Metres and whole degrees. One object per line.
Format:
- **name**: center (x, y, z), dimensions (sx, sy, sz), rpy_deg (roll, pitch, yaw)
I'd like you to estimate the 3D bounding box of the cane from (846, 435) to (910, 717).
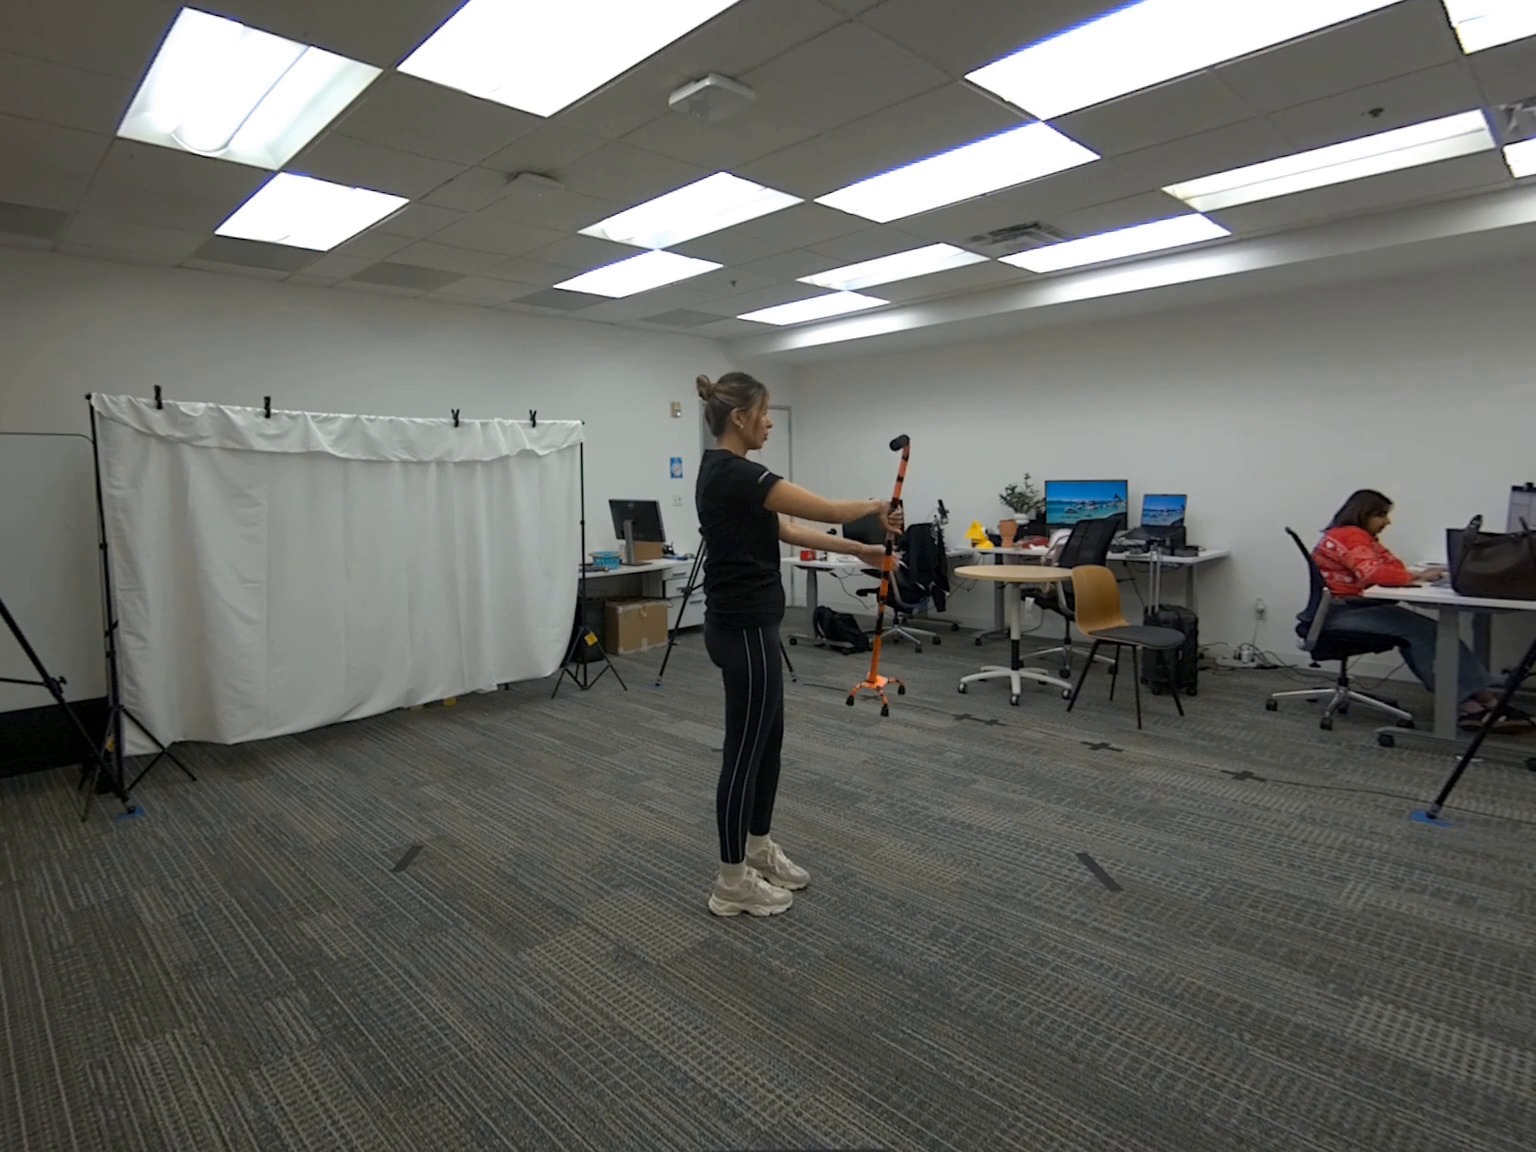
- **cane**: center (0.407, -0.005, 2.774), dimensions (0.156, 0.895, 0.204), rpy_deg (14, 20, 26)
